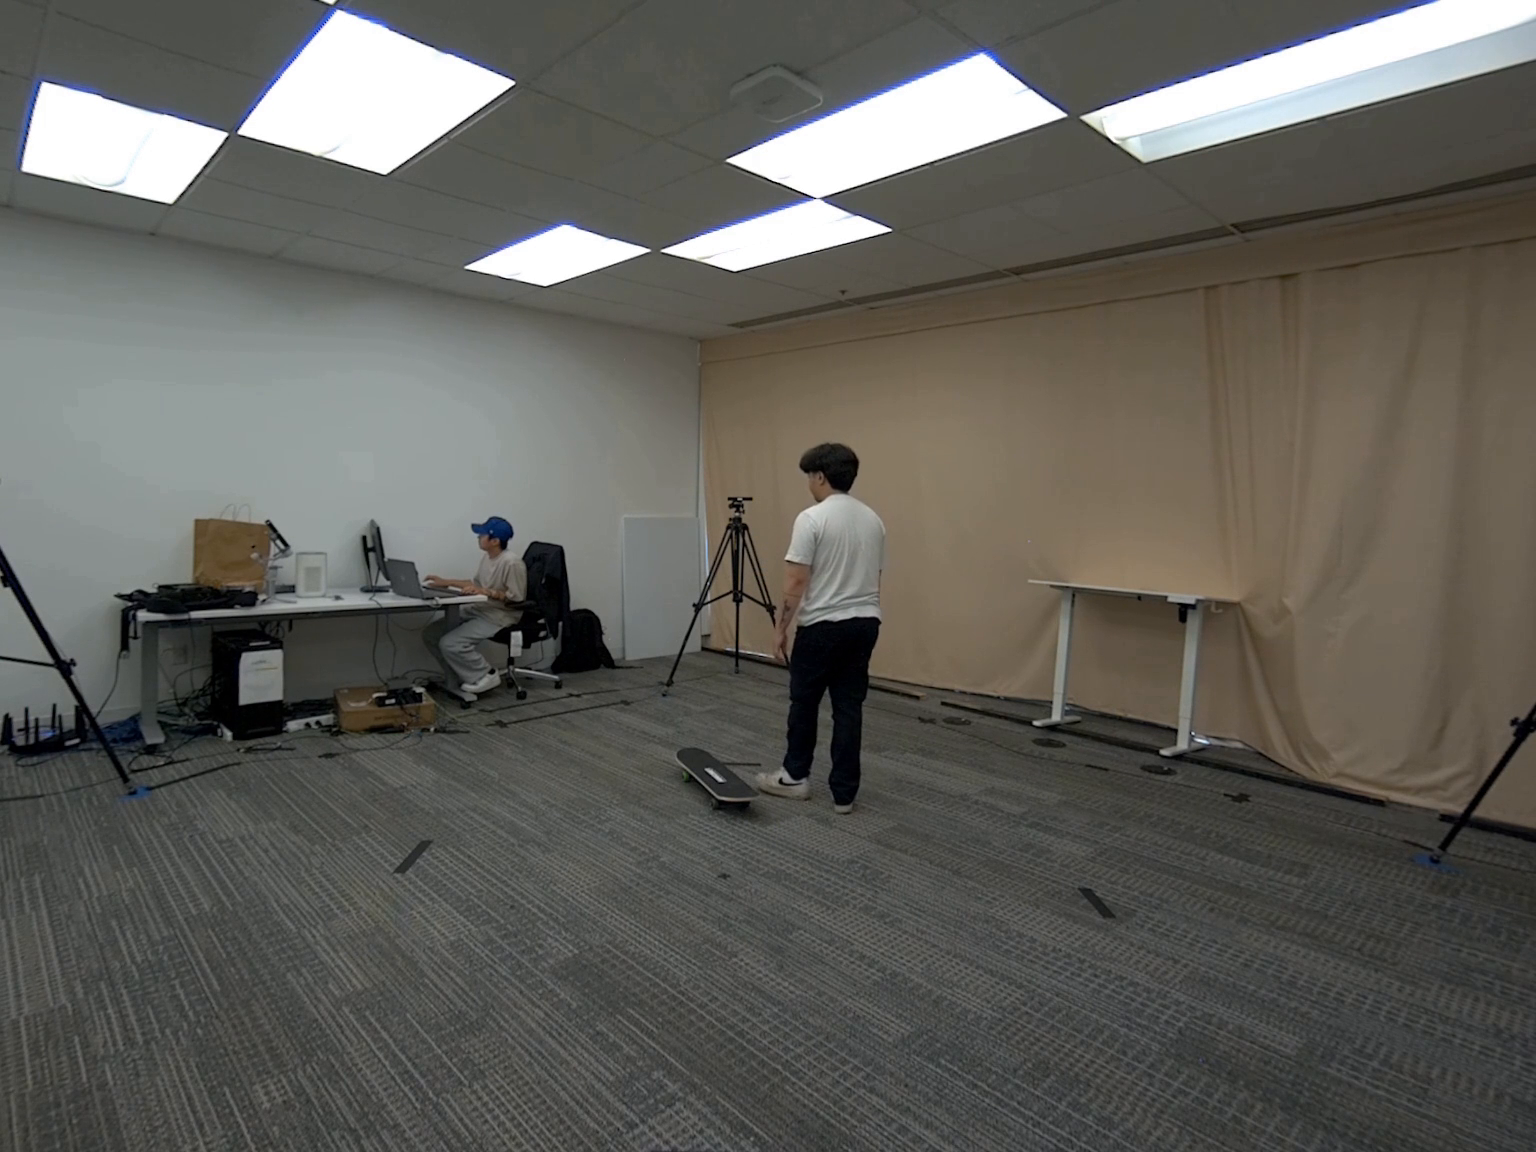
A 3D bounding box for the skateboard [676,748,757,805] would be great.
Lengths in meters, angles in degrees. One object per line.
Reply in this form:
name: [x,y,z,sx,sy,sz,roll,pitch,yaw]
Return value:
skateboard: [-0.261,0.973,3.987,0.190,0.110,0.801,0,5,-23]
